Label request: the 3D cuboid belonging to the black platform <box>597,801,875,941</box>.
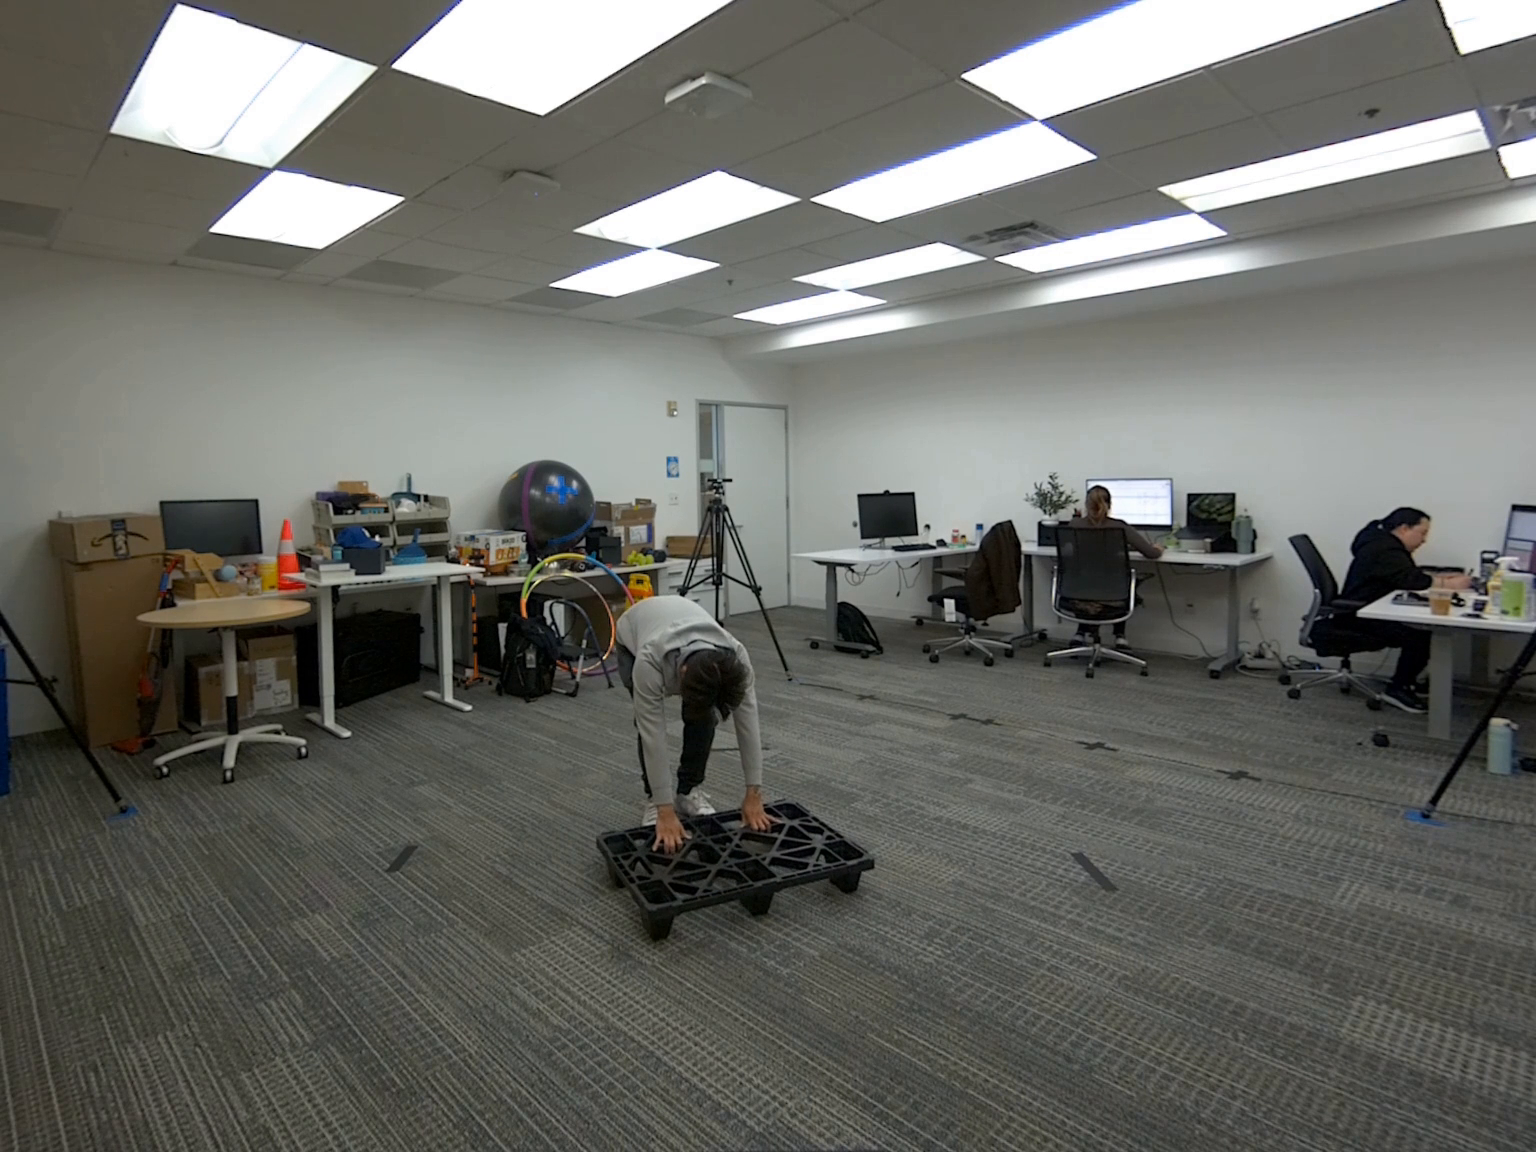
[{"bbox_3d":[-0.131,0.996,2.953,0.789,0.143,0.620,-4,6,-25],"label":"black platform"}]
